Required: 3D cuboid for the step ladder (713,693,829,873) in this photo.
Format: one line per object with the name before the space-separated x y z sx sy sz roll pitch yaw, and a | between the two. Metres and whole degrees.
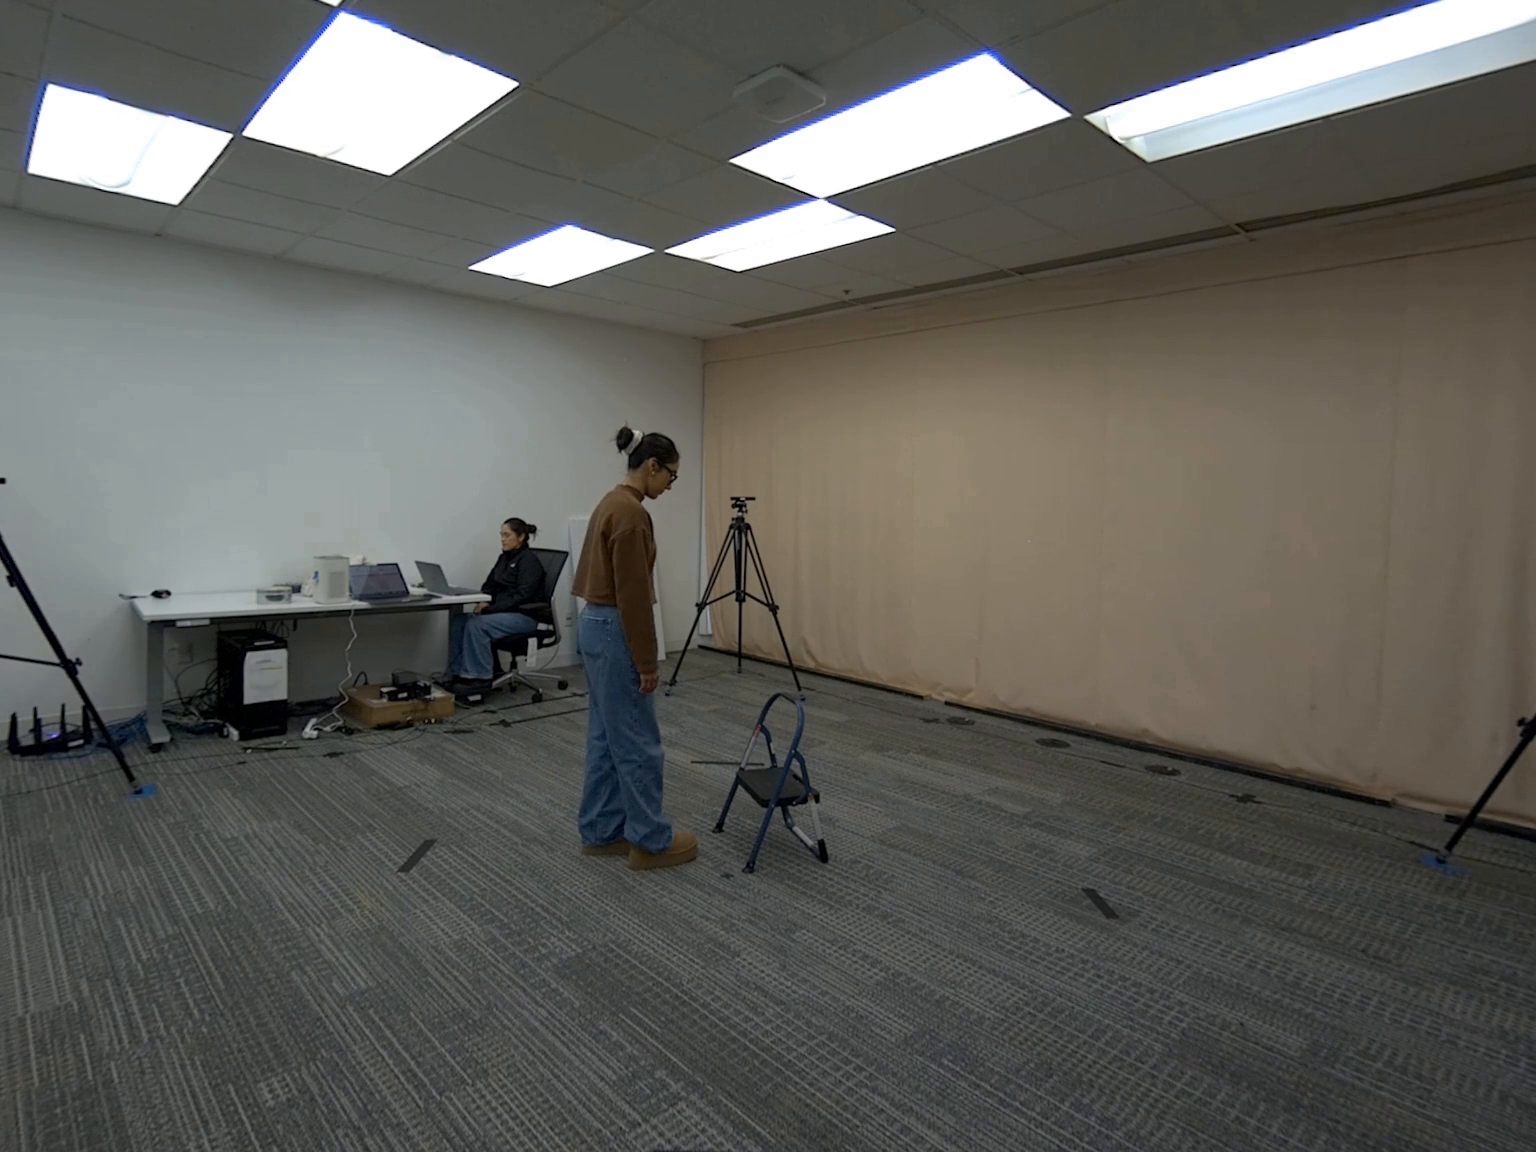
step ladder | -0.001 0.784 3.366 0.344 0.605 0.438 0 4 -20
